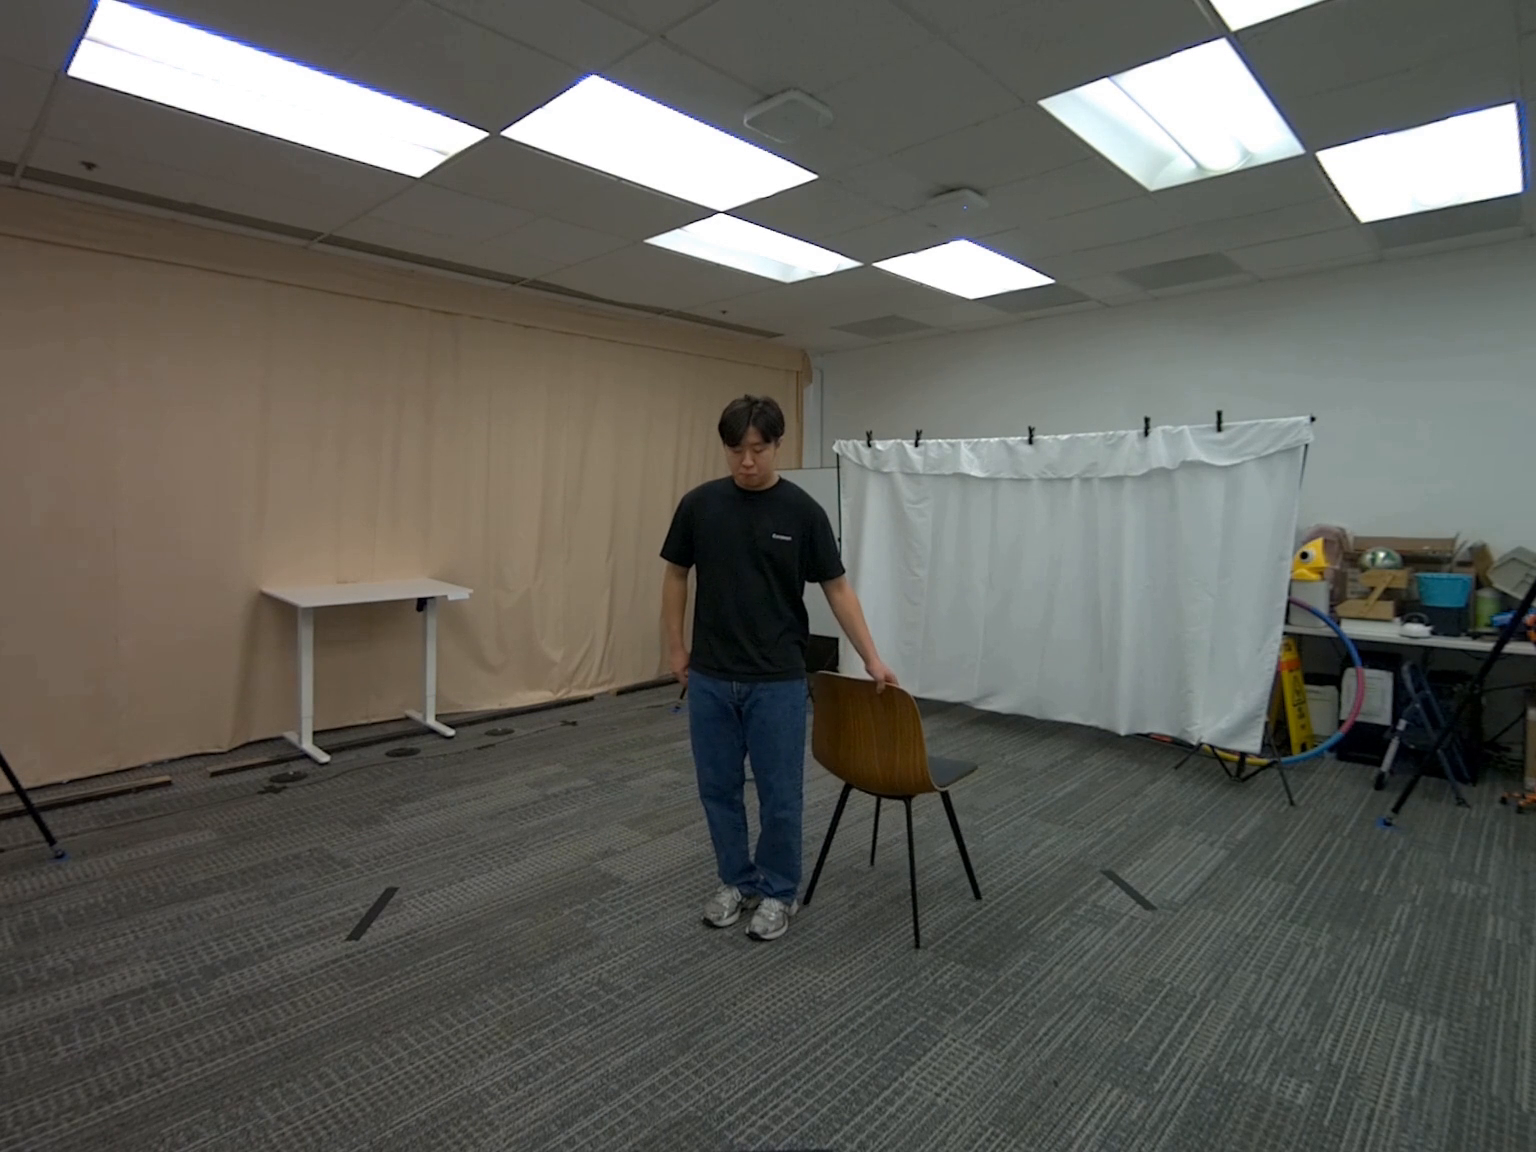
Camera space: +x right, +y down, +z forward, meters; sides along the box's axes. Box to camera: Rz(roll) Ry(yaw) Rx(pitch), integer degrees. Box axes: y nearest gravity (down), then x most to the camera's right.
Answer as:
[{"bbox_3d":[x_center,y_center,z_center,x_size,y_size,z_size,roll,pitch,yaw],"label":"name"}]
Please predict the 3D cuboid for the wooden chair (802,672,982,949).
[{"bbox_3d":[0.440,0.718,2.927,0.494,0.873,0.508,2,8,40],"label":"wooden chair"}]
